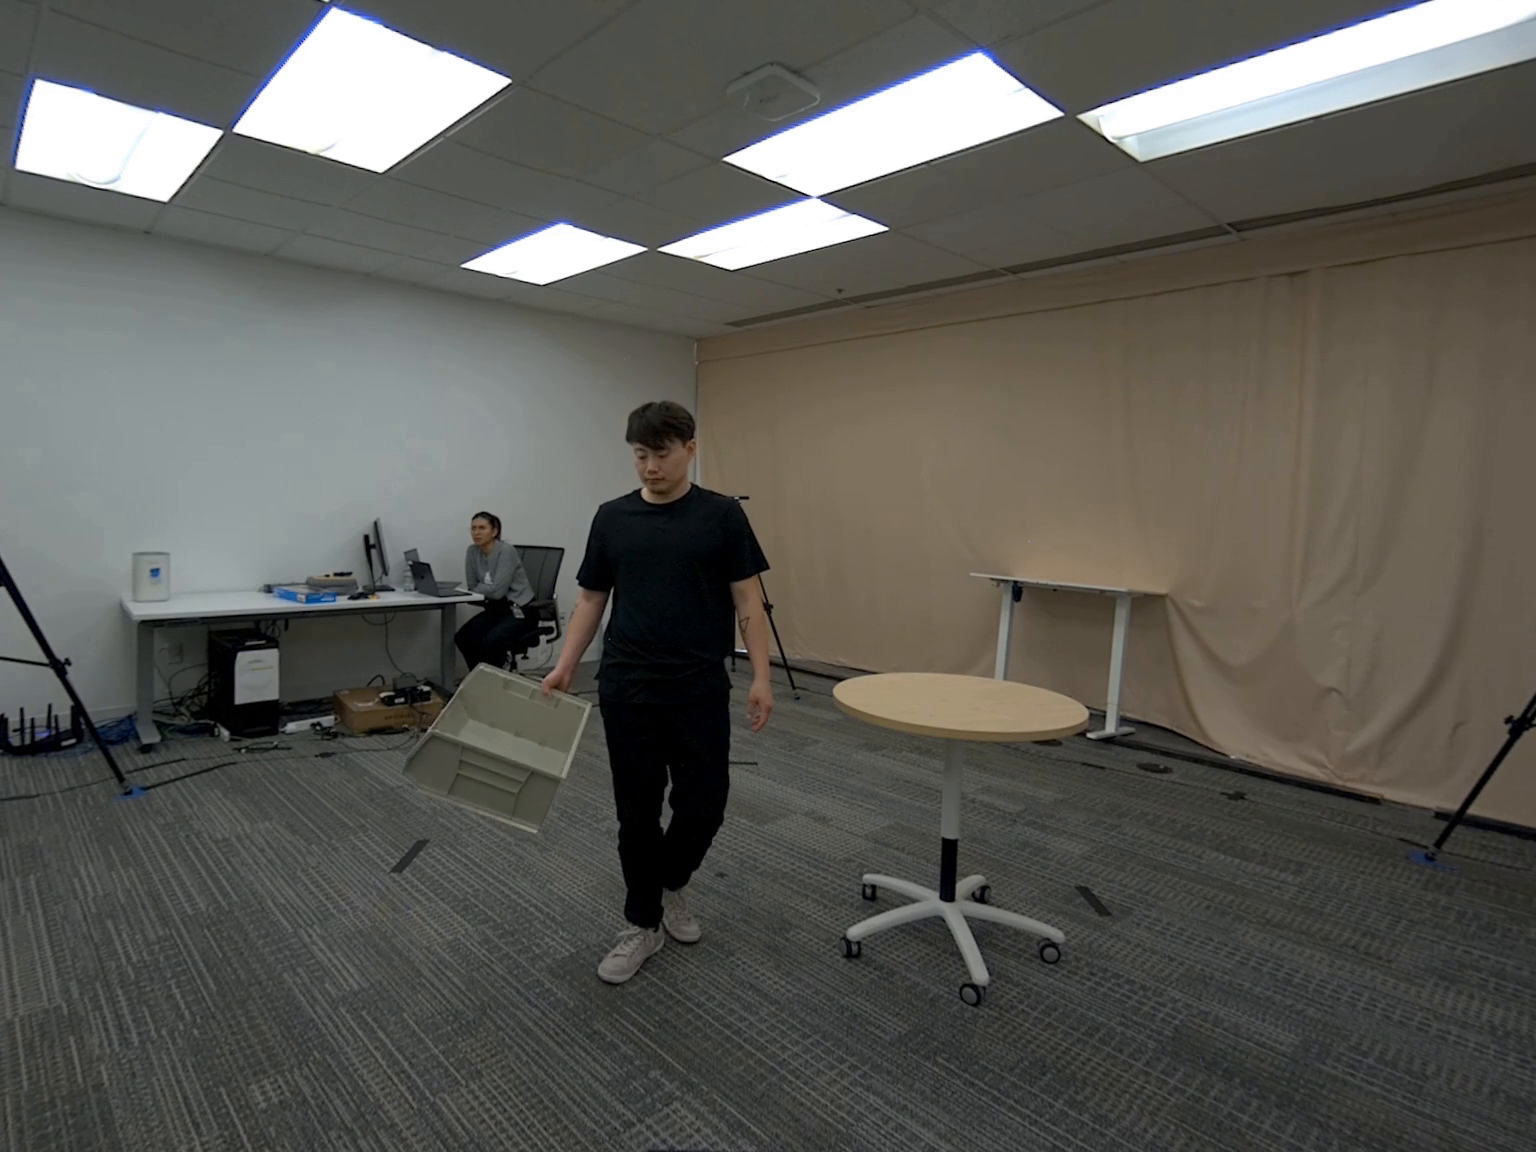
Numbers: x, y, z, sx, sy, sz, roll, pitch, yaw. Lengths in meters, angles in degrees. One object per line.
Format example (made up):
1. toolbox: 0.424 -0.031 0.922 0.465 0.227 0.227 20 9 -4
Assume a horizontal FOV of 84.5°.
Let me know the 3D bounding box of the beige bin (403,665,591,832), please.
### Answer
1. beige bin: -0.717 0.445 2.247 0.375 0.188 0.427 22 12 -8
